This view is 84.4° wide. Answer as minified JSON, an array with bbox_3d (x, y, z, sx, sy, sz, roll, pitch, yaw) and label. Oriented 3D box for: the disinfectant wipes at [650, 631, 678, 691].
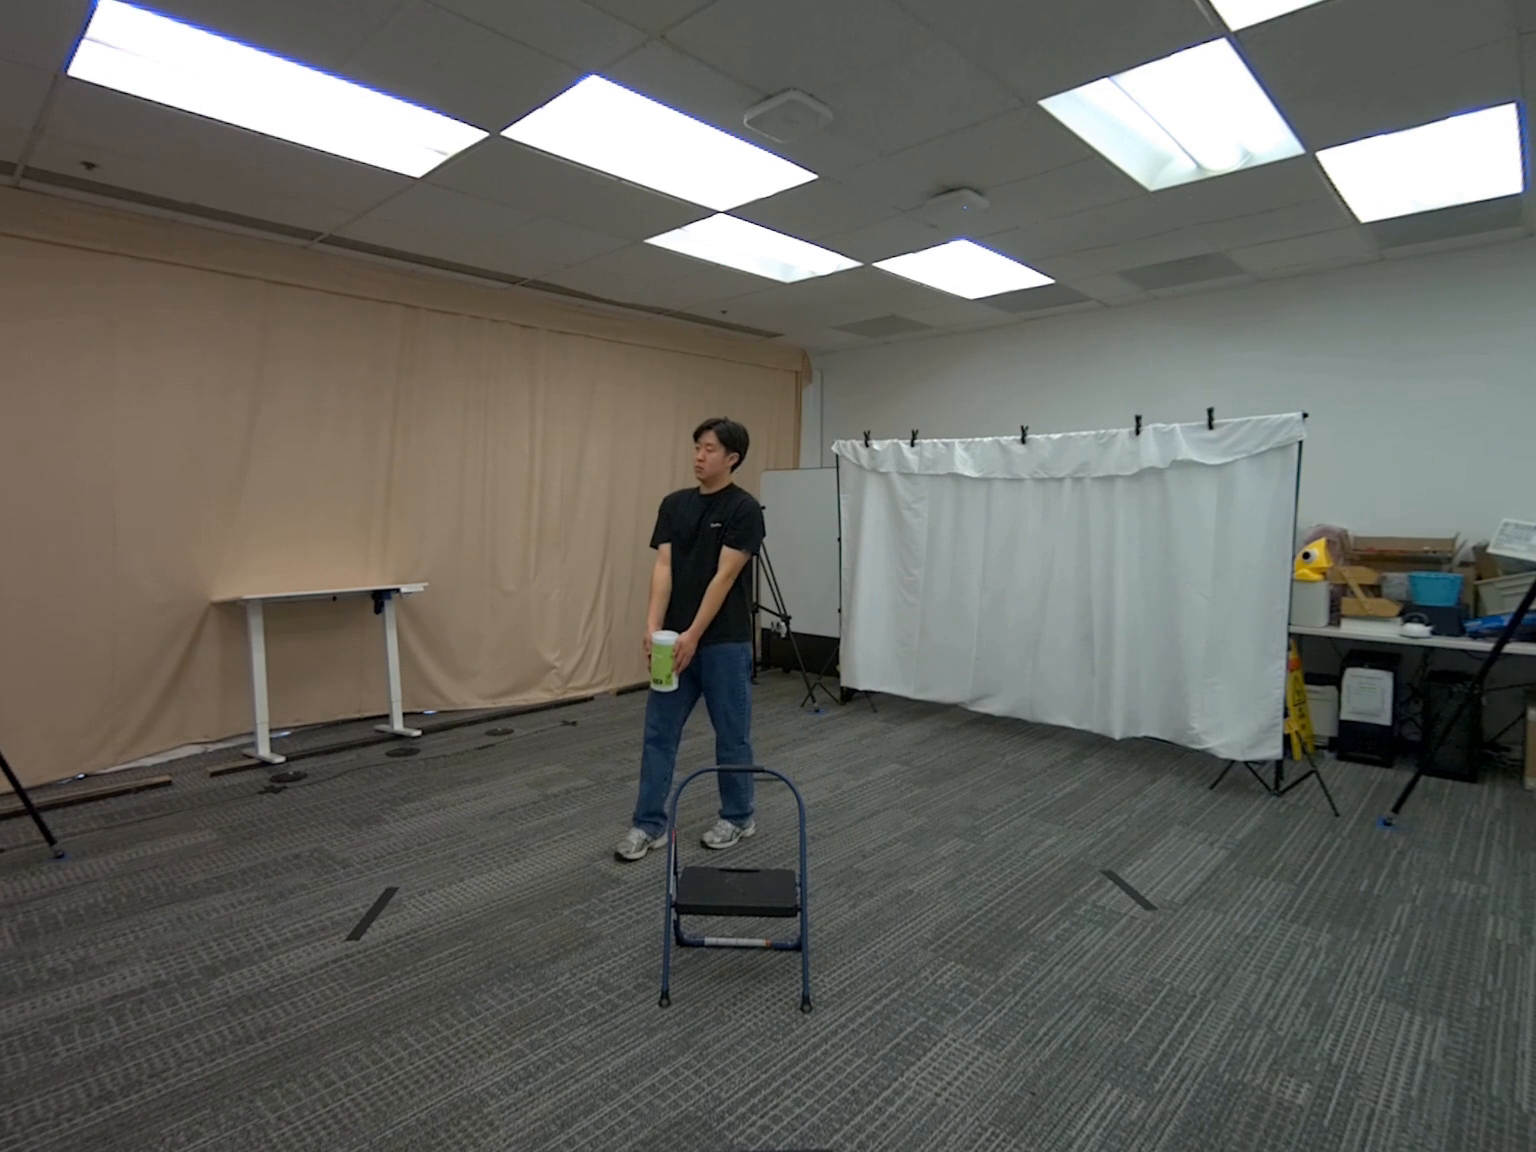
[{"bbox_3d":[-0.382,0.327,3.263,0.117,0.216,0.119,6,10,-3],"label":"disinfectant wipes"}]
